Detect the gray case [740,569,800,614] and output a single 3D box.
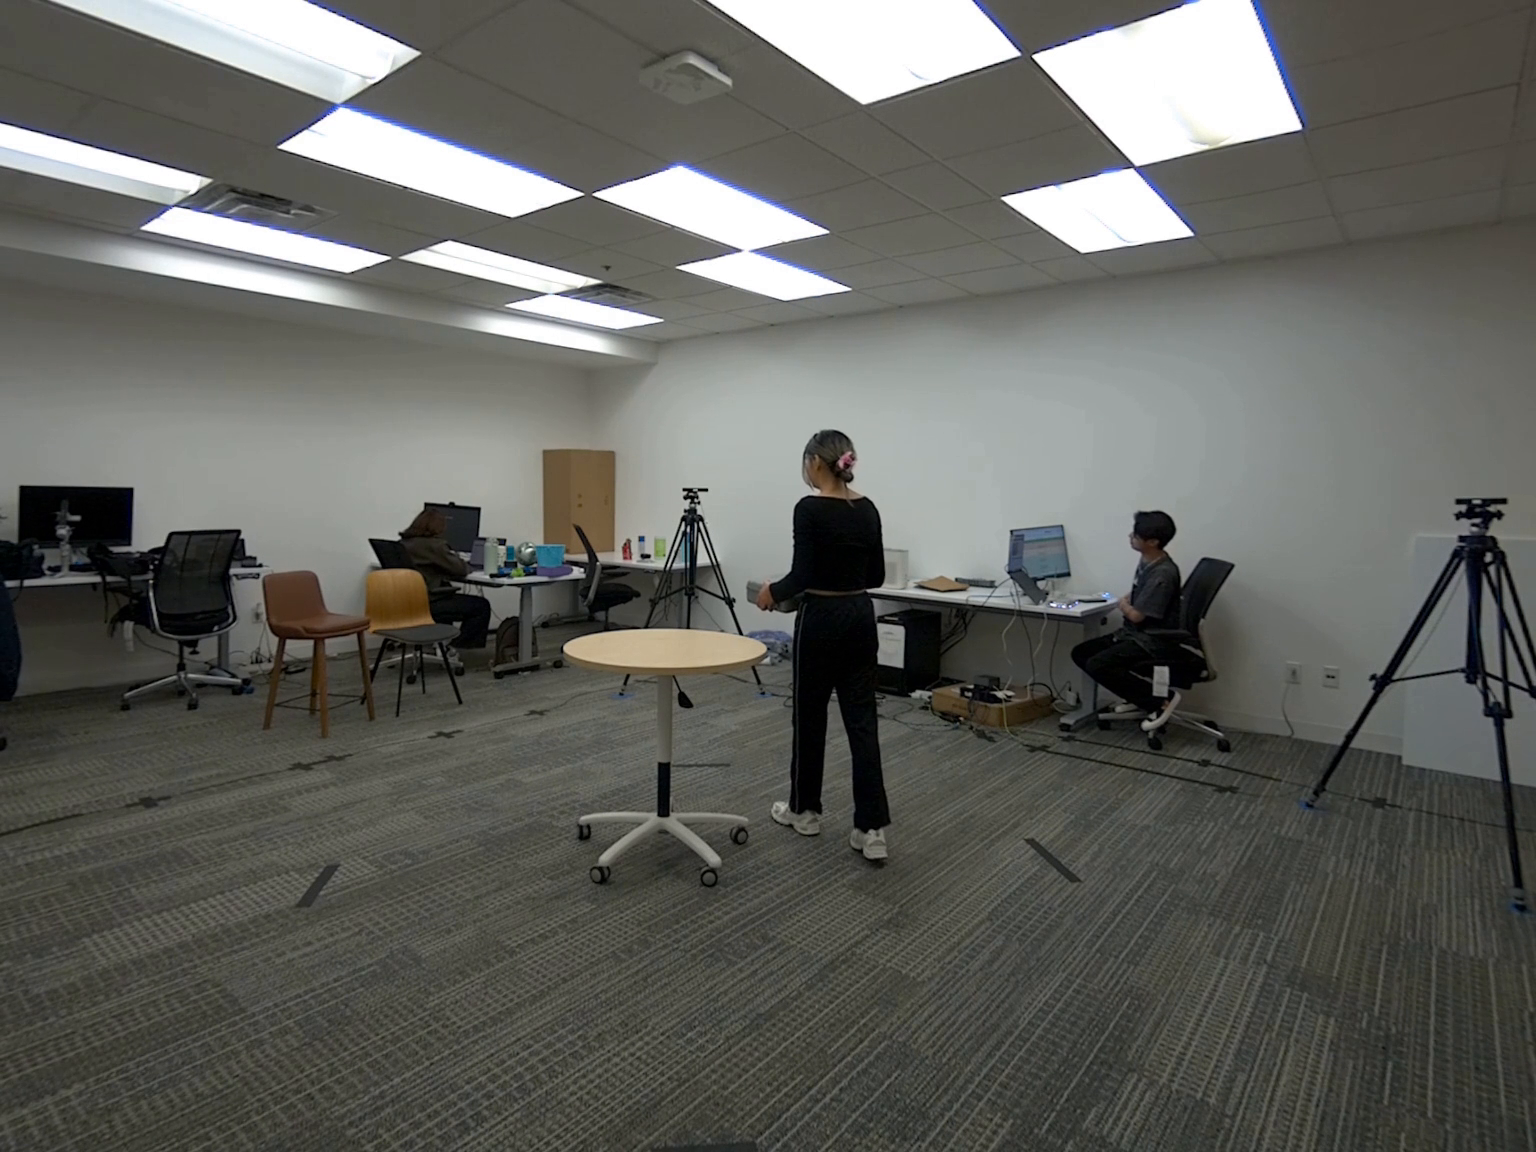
[{"bbox_3d":[0.063,0.061,3.634,0.250,0.103,0.271,-9,17,-43],"label":"gray case"}]
